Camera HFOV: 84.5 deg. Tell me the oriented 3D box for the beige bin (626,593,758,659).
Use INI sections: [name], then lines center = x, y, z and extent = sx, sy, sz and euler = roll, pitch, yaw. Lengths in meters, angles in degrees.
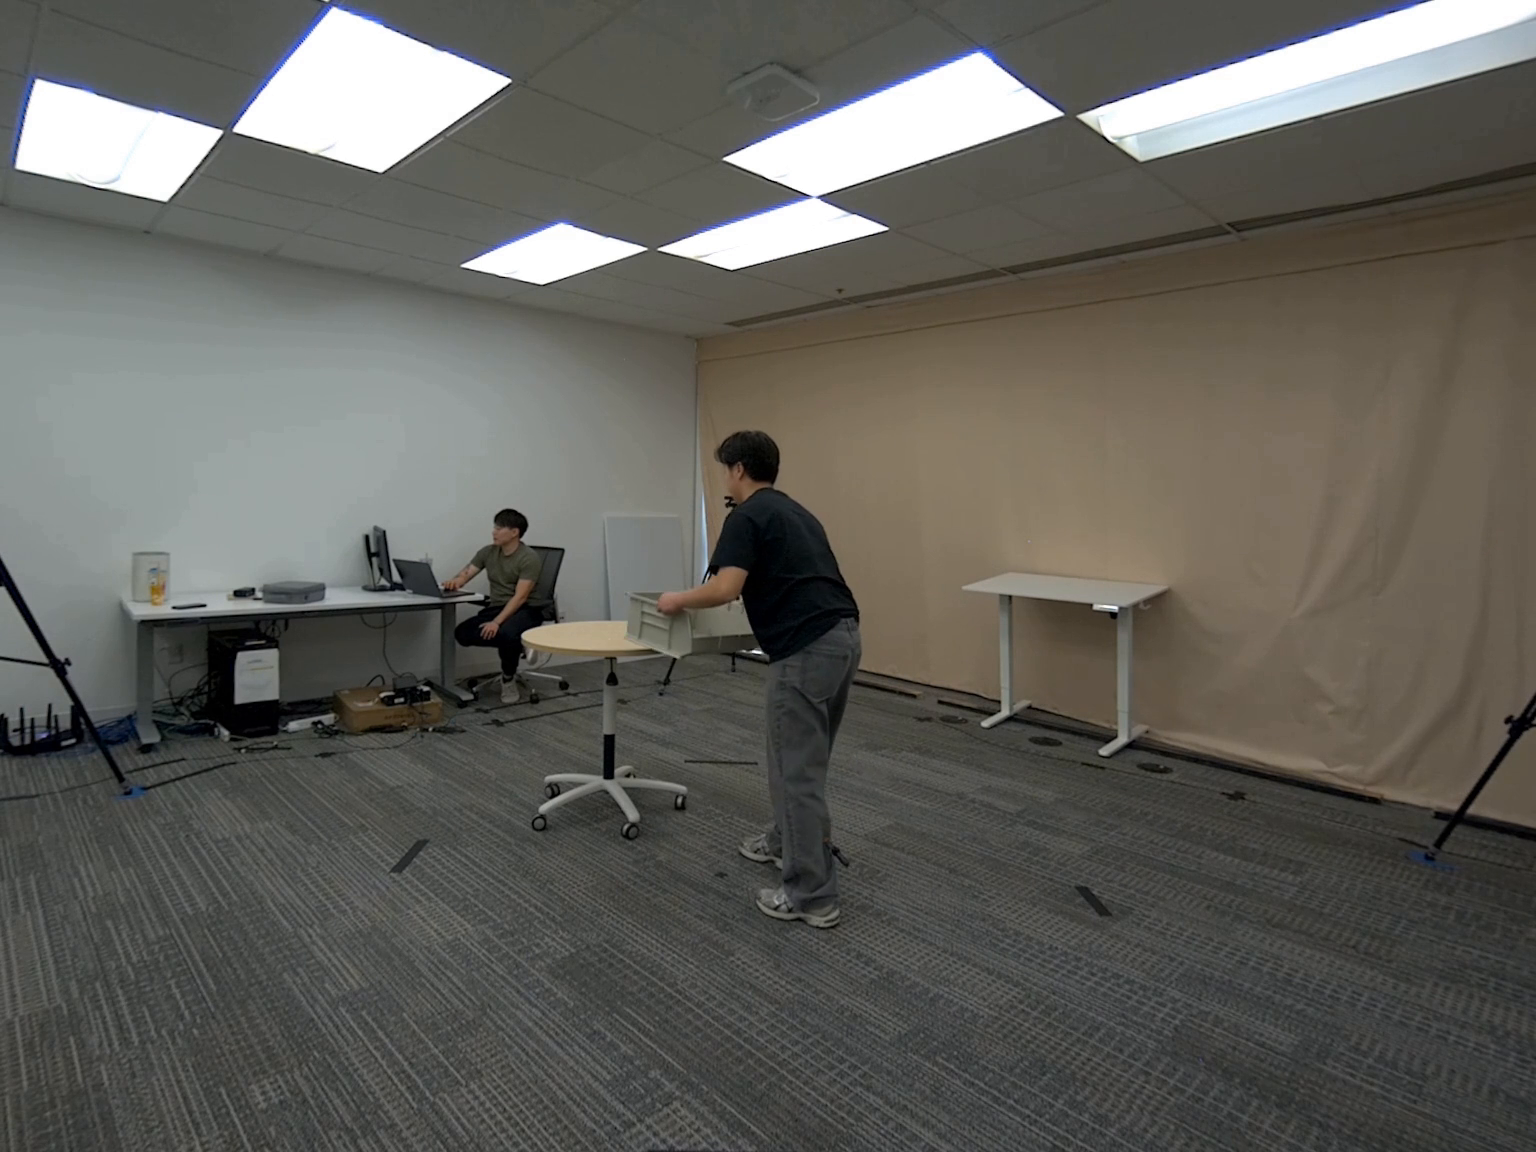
[beige bin]
center = -0.288, 0.200, 3.262
extent = 0.387, 0.188, 0.412
euler = 10, 7, 41
